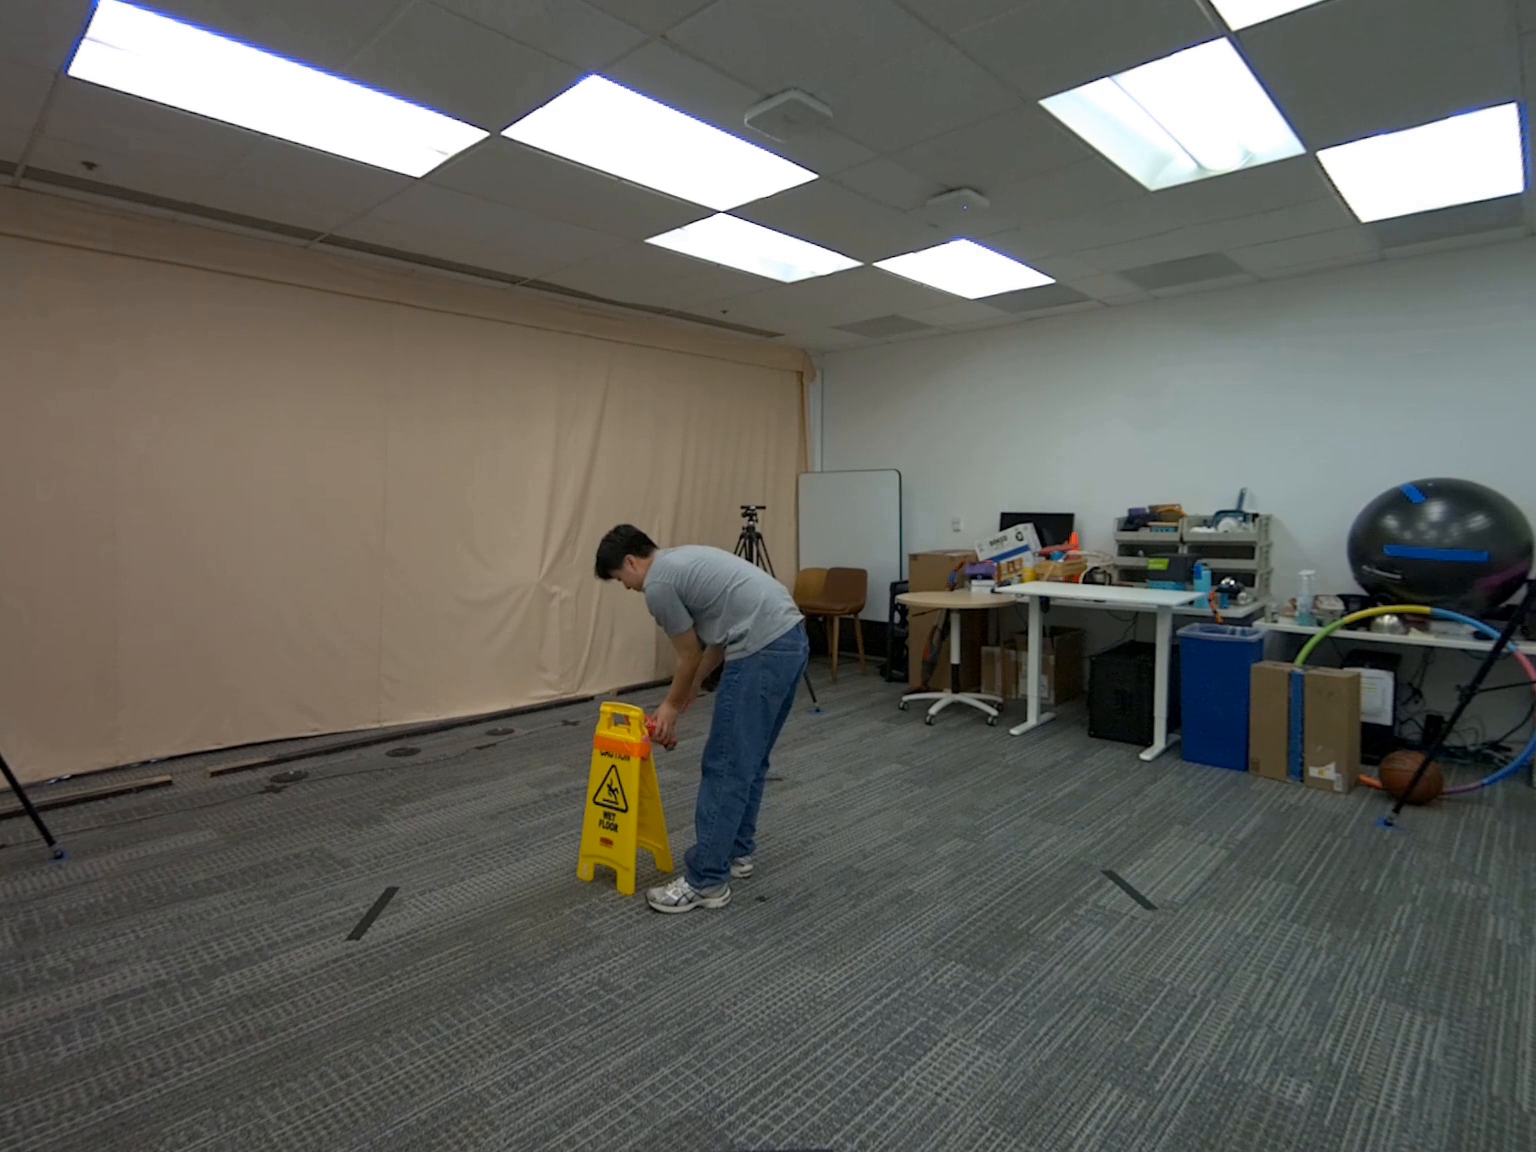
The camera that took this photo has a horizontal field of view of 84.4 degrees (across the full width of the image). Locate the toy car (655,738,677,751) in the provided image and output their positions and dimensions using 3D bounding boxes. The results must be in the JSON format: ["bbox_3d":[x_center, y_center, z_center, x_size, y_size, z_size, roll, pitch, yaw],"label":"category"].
[{"bbox_3d":[-0.470,0.598,3.255,0.246,0.083,0.135,44,-2,-39],"label":"toy car"}]
